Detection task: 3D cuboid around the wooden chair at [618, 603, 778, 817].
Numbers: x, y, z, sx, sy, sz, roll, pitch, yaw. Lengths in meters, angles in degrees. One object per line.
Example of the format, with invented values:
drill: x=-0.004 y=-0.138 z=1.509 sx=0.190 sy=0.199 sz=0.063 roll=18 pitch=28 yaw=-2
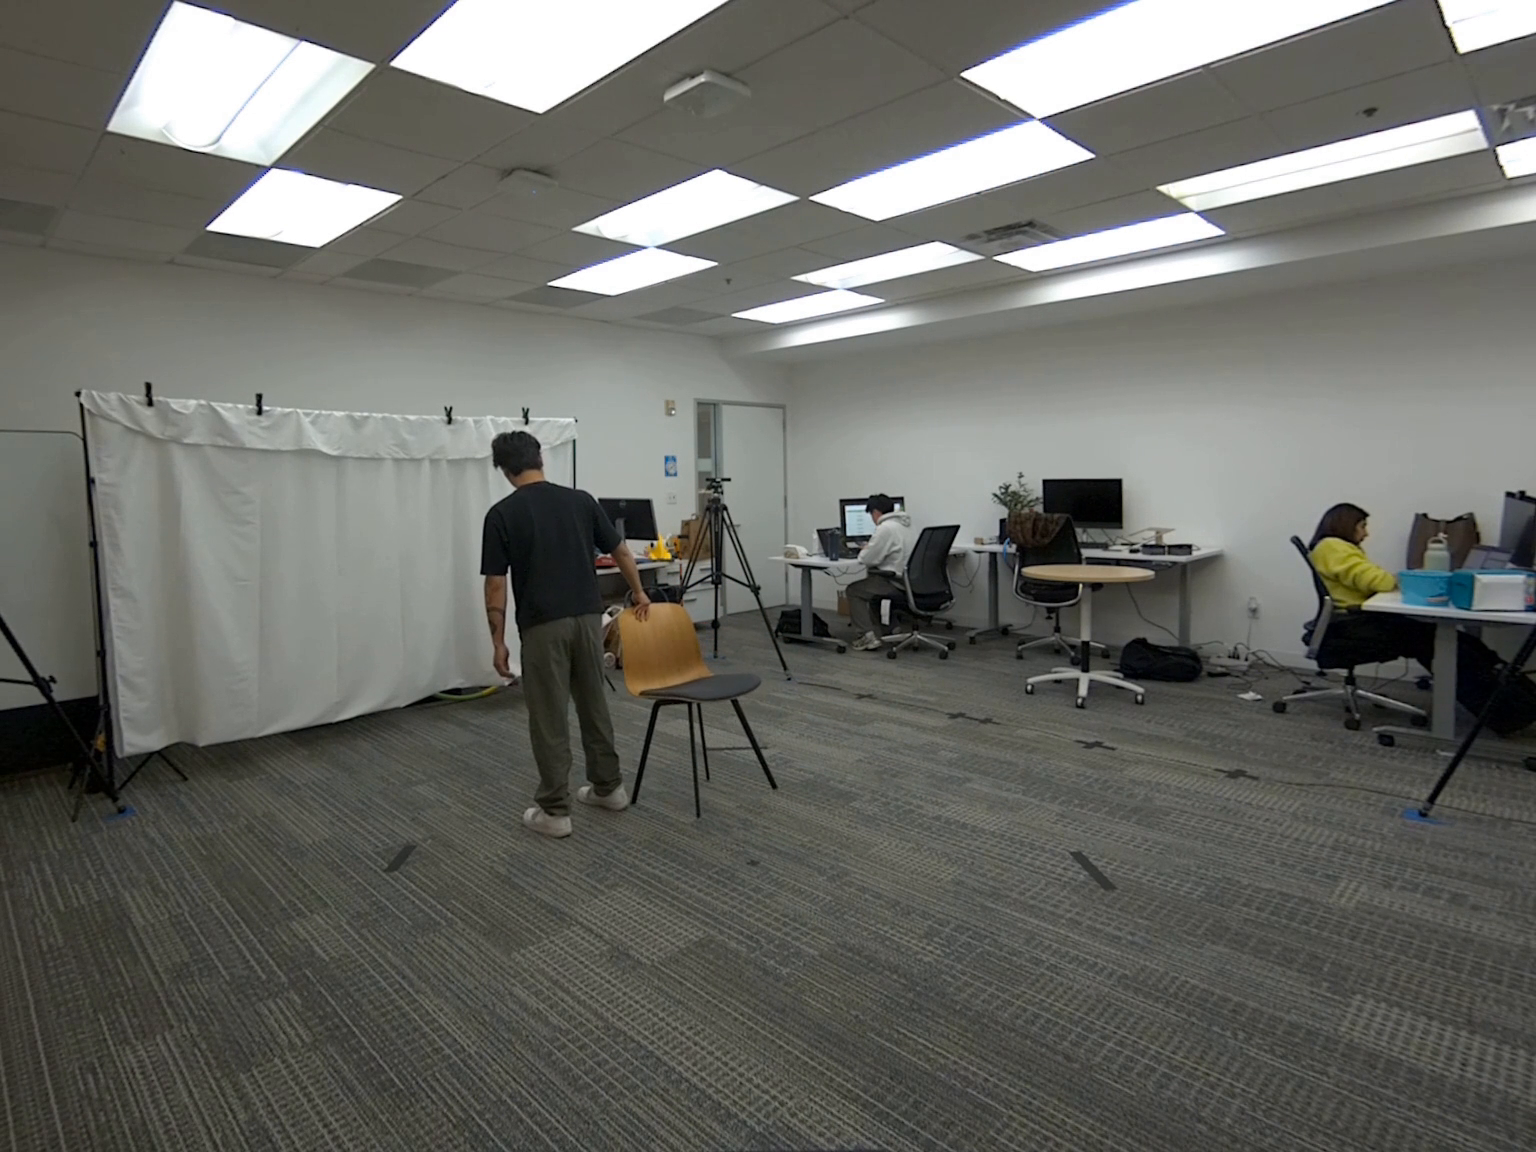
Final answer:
wooden chair: x=-0.319 y=0.528 z=3.687 sx=0.465 sy=0.882 sz=0.534 roll=-5 pitch=-7 yaw=-44
